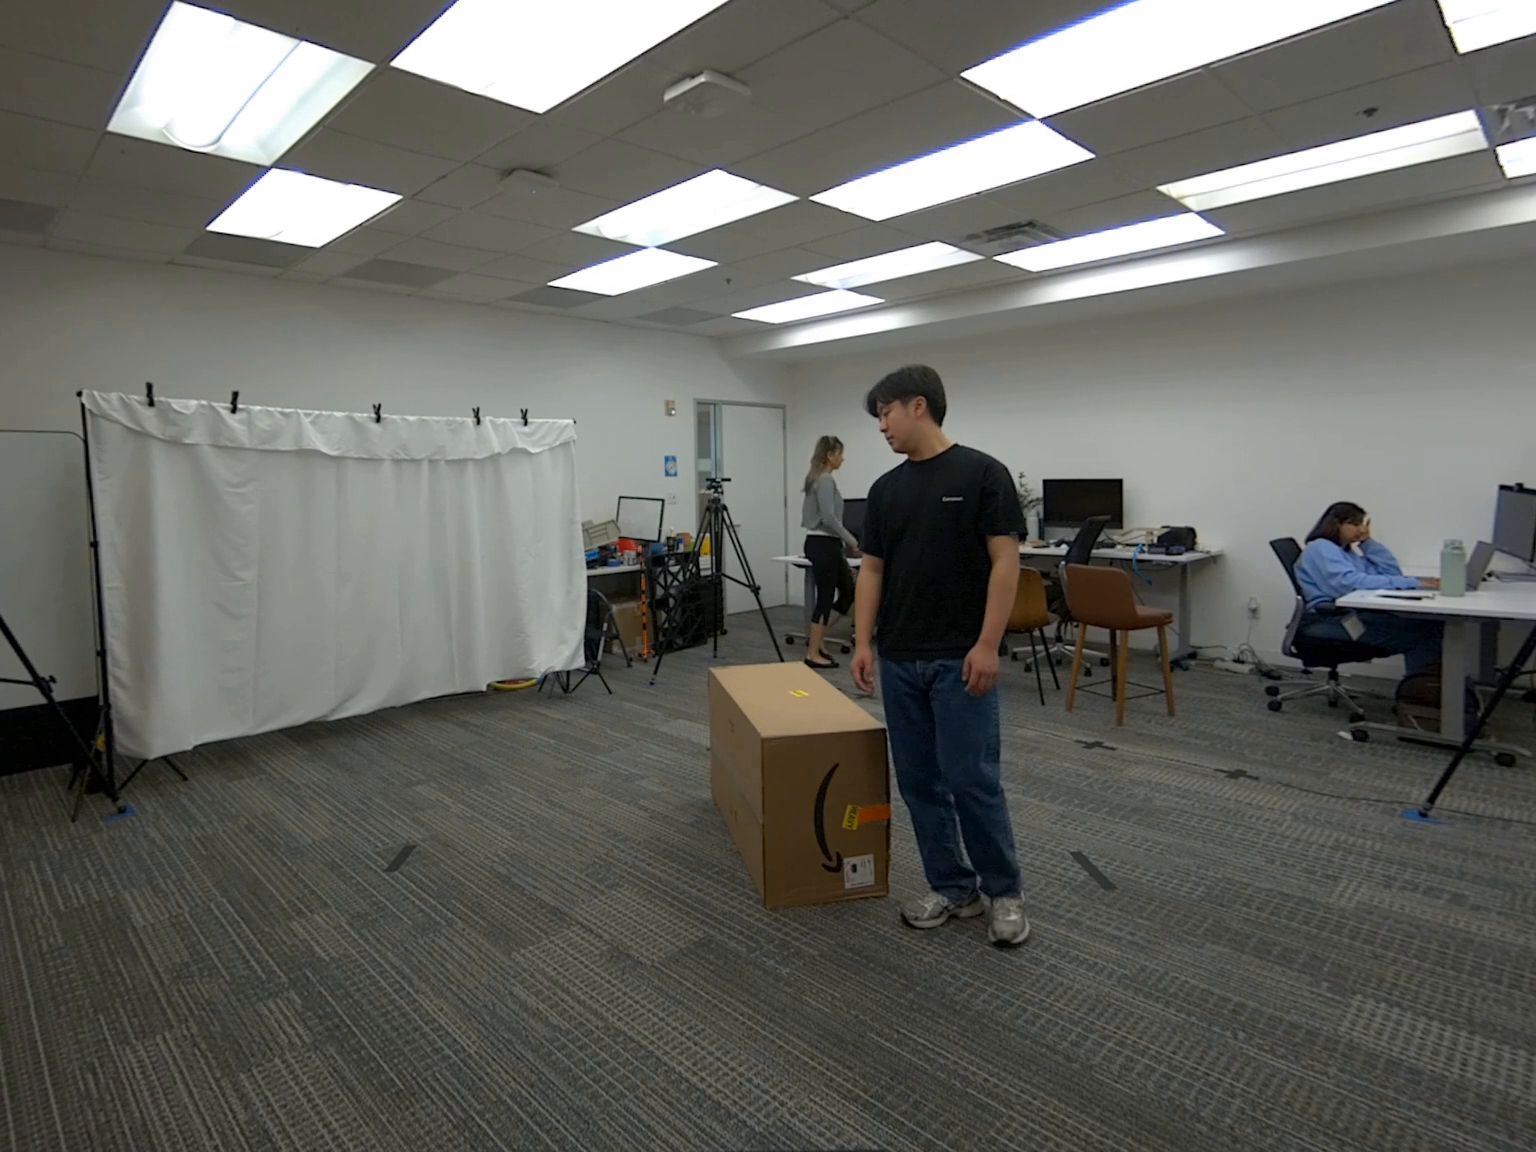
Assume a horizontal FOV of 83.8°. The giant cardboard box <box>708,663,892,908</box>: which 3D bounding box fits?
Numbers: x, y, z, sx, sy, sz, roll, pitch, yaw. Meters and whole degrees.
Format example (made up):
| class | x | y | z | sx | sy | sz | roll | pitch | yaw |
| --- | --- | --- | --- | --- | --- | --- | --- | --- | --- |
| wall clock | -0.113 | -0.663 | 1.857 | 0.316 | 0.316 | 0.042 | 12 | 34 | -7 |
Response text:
| class | x | y | z | sx | sy | sz | roll | pitch | yaw |
| --- | --- | --- | --- | --- | --- | --- | --- | --- | --- |
| giant cardboard box | 0.074 | 0.731 | 3.284 | 0.441 | 0.581 | 1.044 | -1 | 6 | -13 |
